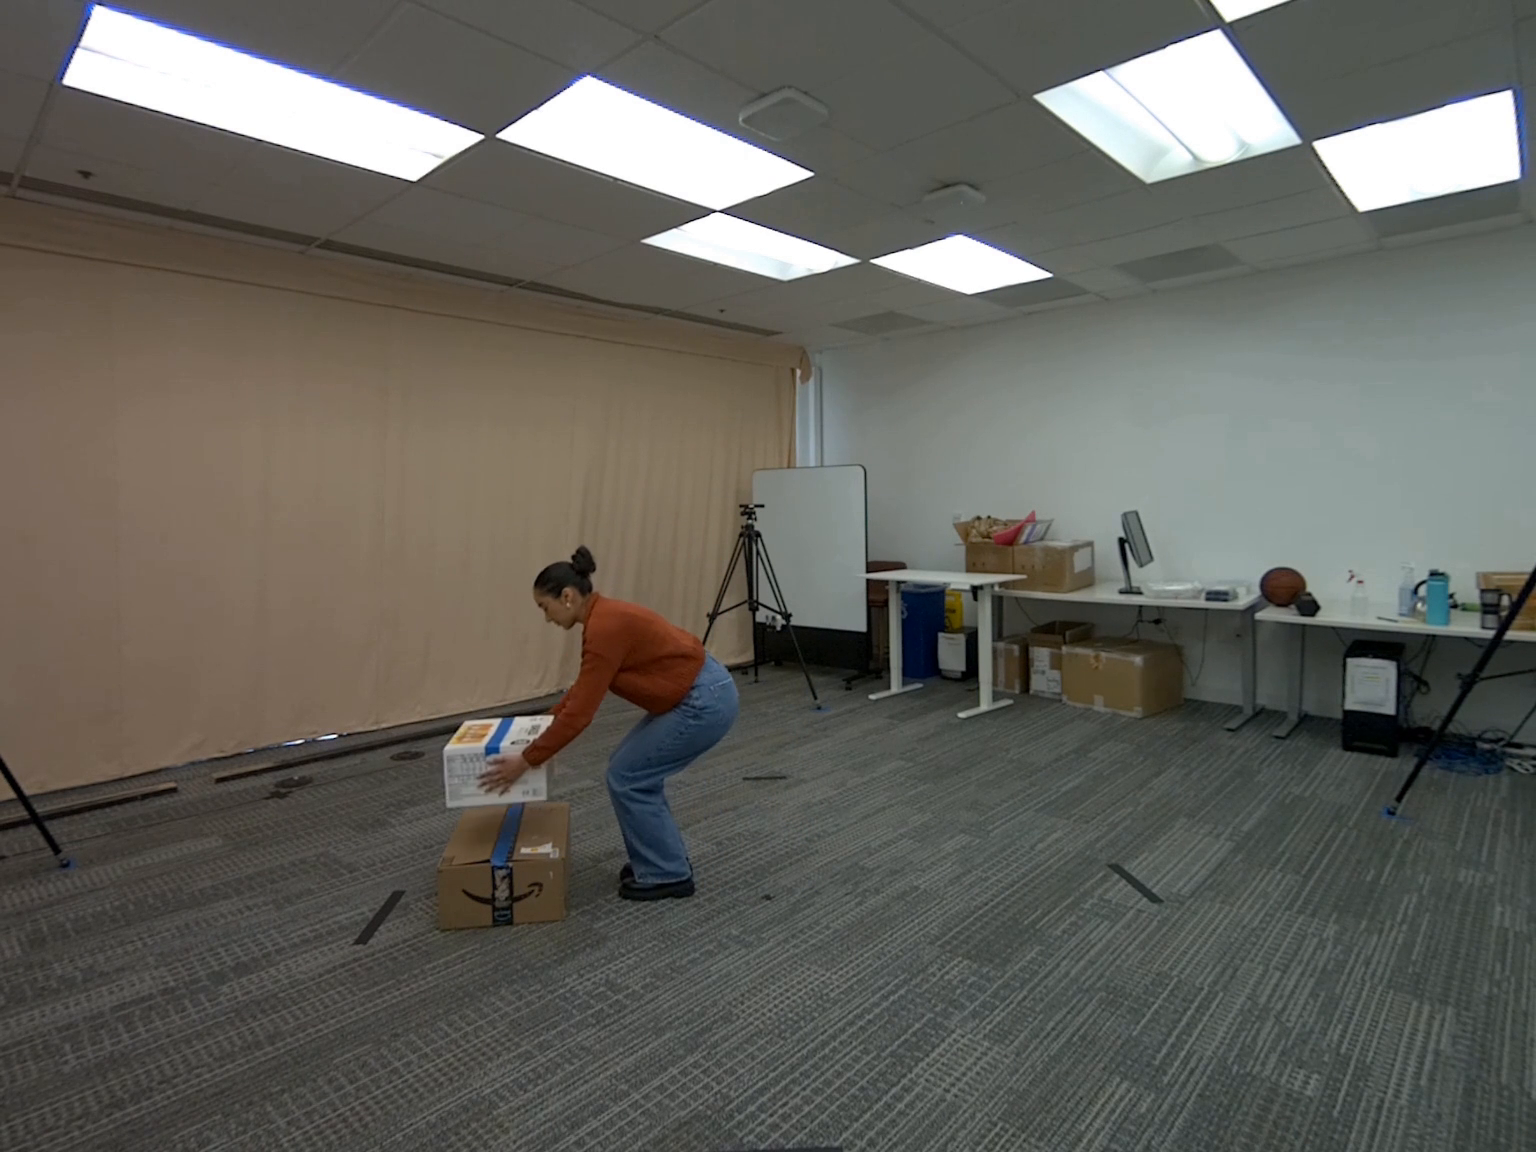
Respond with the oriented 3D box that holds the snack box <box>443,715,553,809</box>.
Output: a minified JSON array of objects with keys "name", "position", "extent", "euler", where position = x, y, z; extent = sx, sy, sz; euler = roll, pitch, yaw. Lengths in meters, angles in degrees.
[{"name":"snack box","position":[-0.962,0.657,3.060],"extent":[0.338,0.205,0.409],"euler":[-3,4,-8]}]
